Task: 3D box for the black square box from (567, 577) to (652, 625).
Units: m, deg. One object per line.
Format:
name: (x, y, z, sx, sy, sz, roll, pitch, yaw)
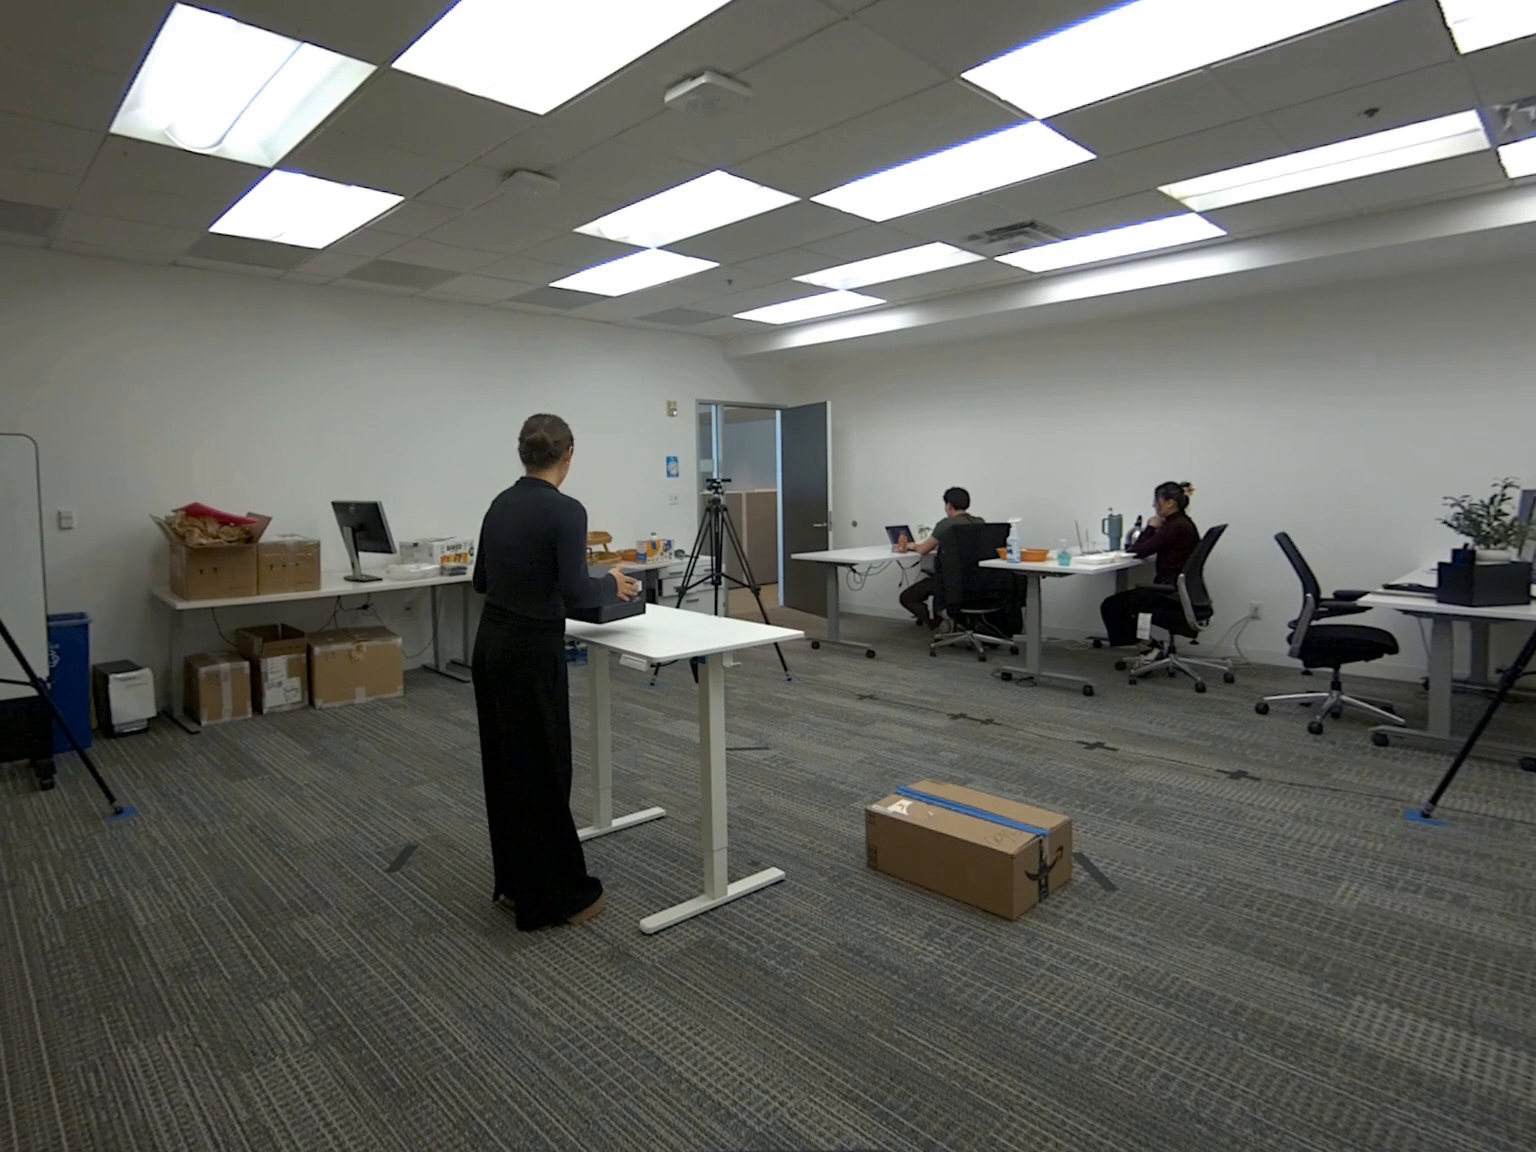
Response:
black square box: (-0.576, 0.057, 2.924, 0.235, 0.155, 0.212, 6, 10, 37)
